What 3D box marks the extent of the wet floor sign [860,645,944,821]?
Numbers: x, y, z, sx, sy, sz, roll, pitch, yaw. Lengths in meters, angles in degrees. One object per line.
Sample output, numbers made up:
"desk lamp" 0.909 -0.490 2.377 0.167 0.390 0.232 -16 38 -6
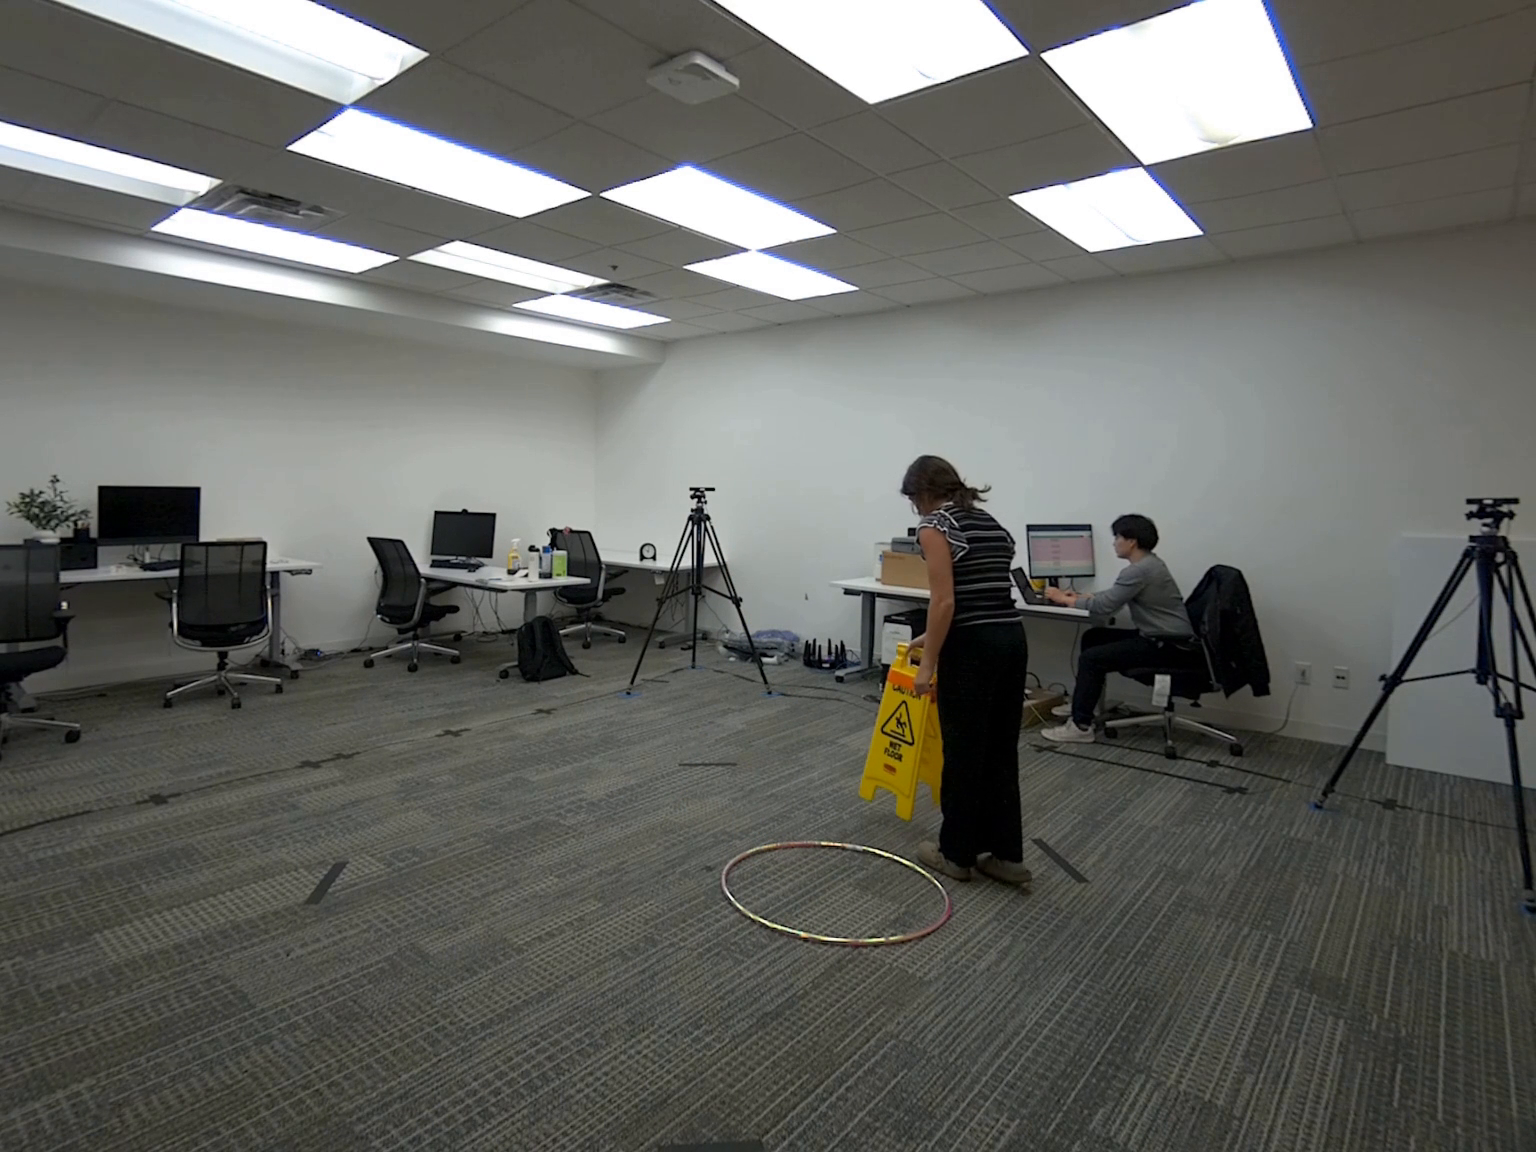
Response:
"wet floor sign" 0.575 0.604 3.469 0.281 0.642 0.292 -2 9 -38
